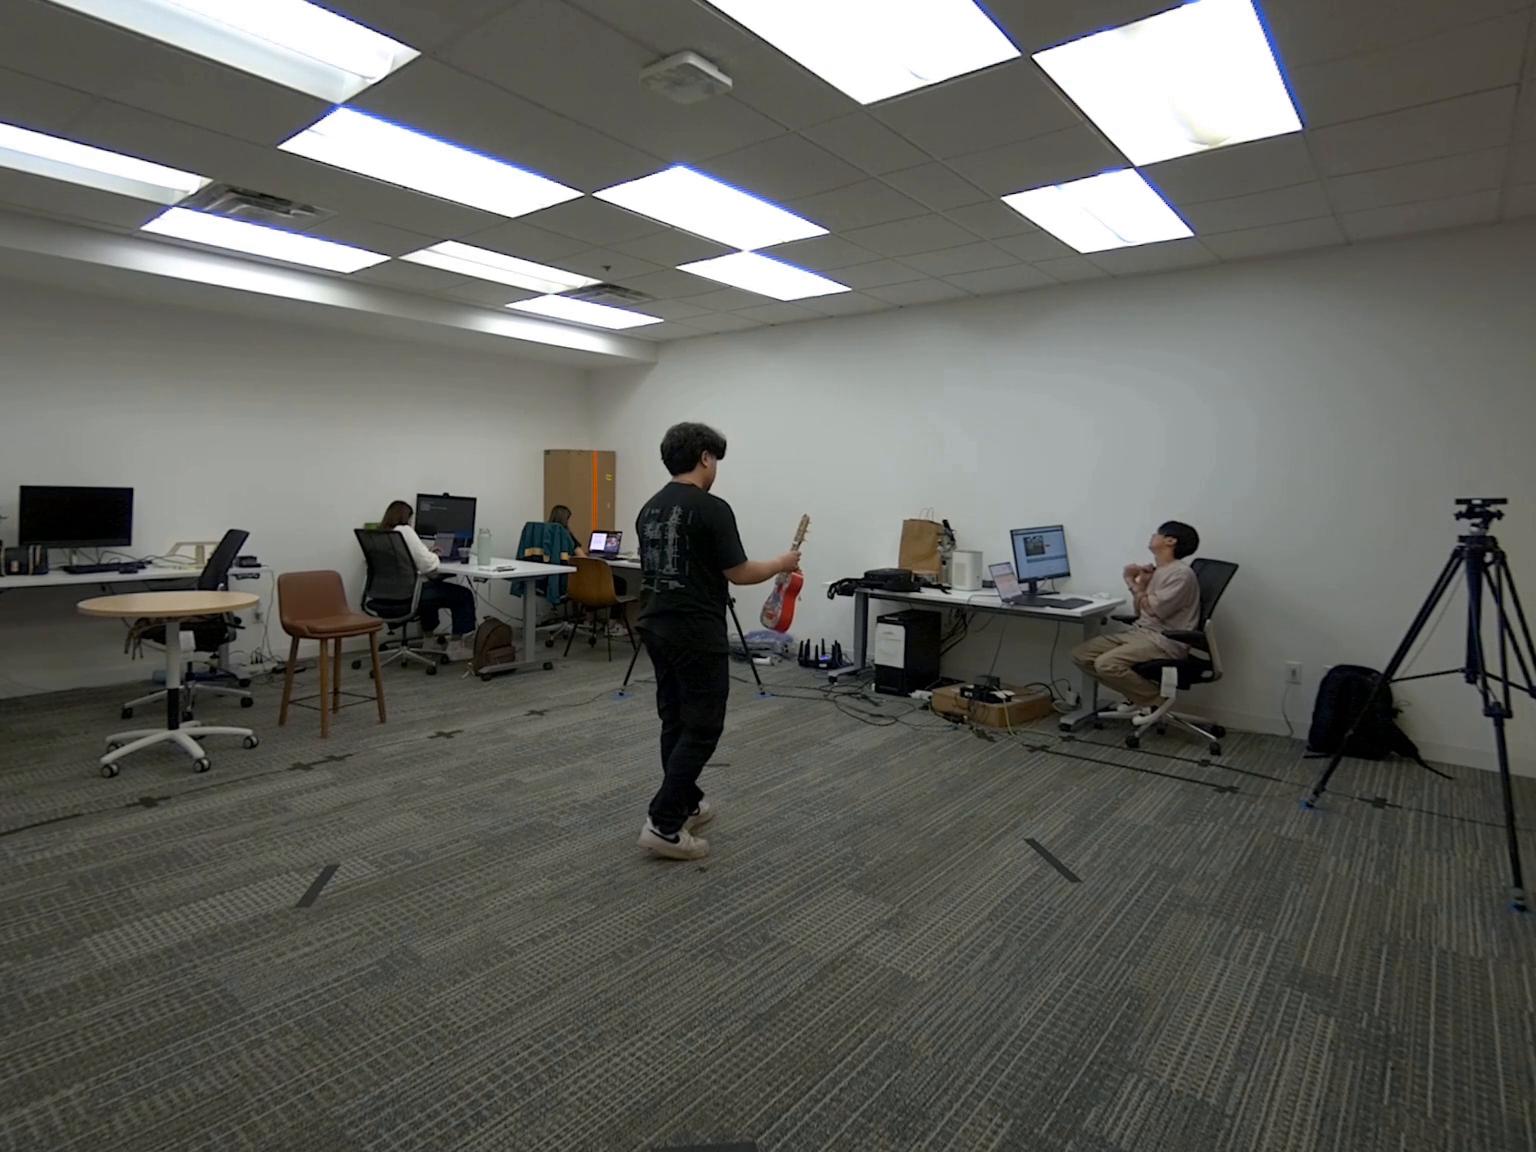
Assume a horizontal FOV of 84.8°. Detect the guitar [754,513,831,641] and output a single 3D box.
[{"bbox_3d":[0.096,-0.001,3.495,0.069,0.495,0.199,20,10,-21],"label":"guitar"}]
